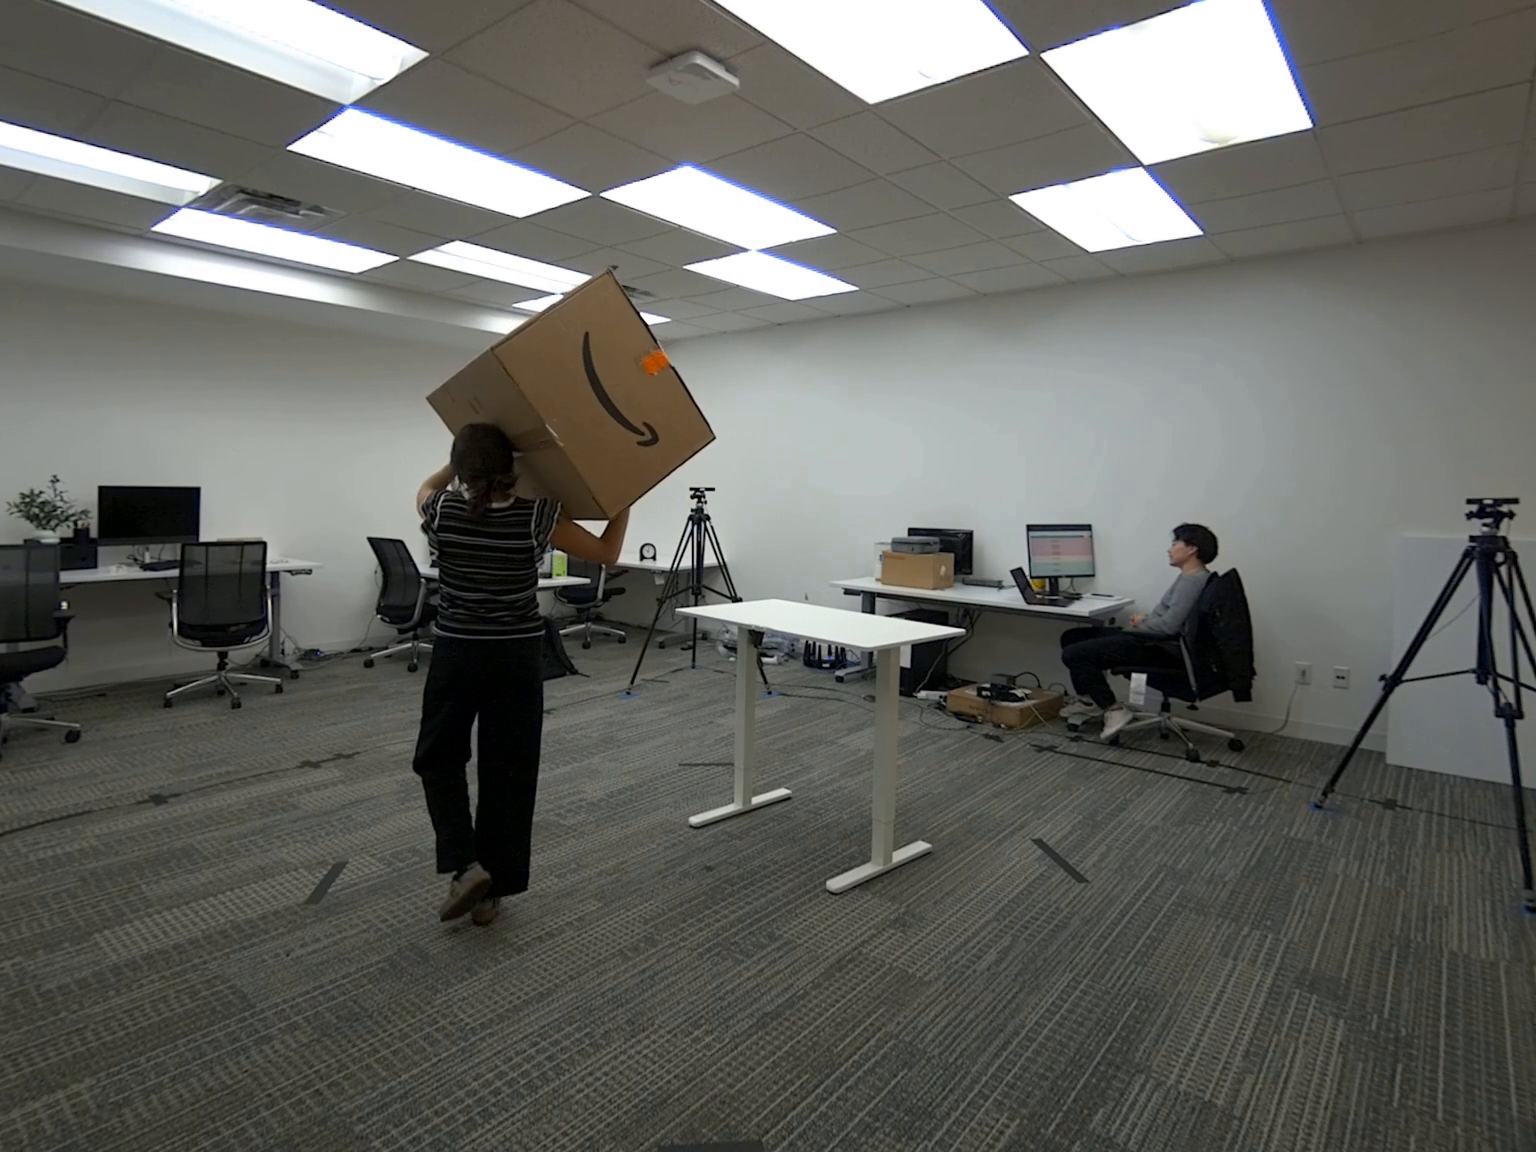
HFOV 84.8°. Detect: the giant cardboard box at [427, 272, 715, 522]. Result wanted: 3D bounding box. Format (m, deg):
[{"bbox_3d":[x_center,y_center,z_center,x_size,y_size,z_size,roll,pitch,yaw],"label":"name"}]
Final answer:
[{"bbox_3d":[-0.714,-0.535,2.833,0.424,0.564,1.055,-40,21,-23],"label":"giant cardboard box"}]
